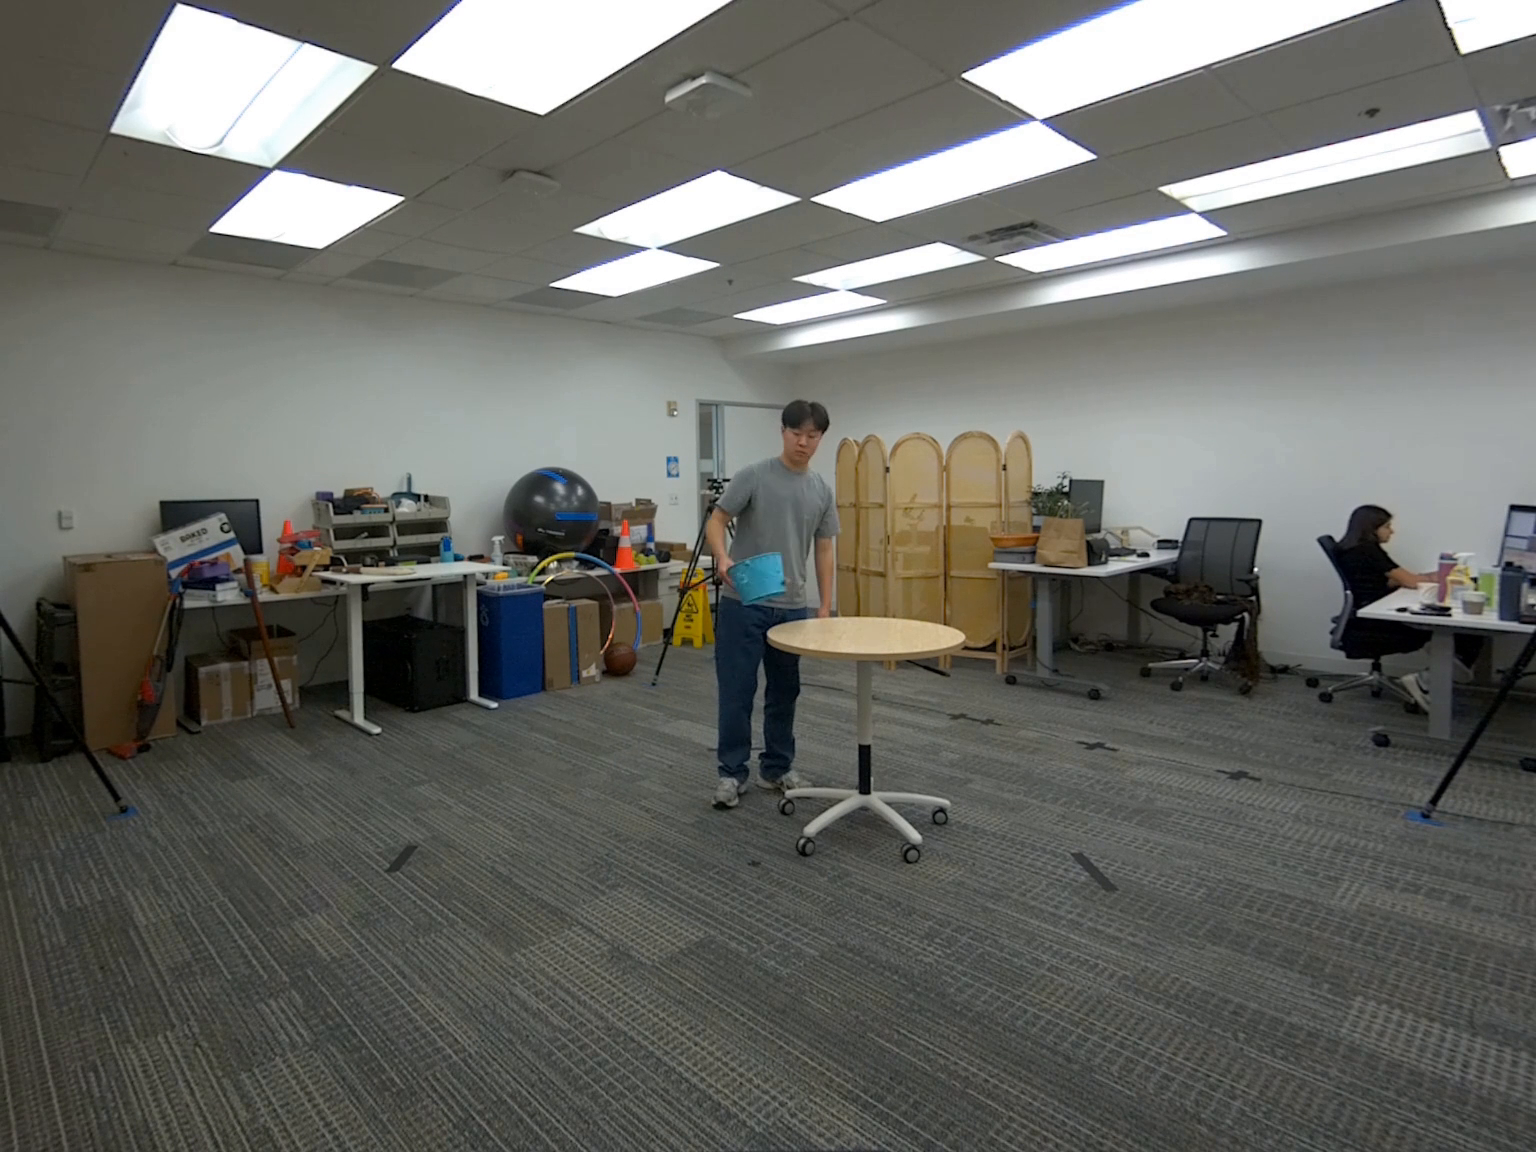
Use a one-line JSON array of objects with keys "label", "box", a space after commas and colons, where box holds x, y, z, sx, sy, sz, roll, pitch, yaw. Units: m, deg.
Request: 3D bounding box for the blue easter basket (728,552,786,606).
[{"label": "blue easter basket", "box": [-0.013, 0.030, 3.431, 0.243, 0.158, 0.241, -15, -9, -4]}]
